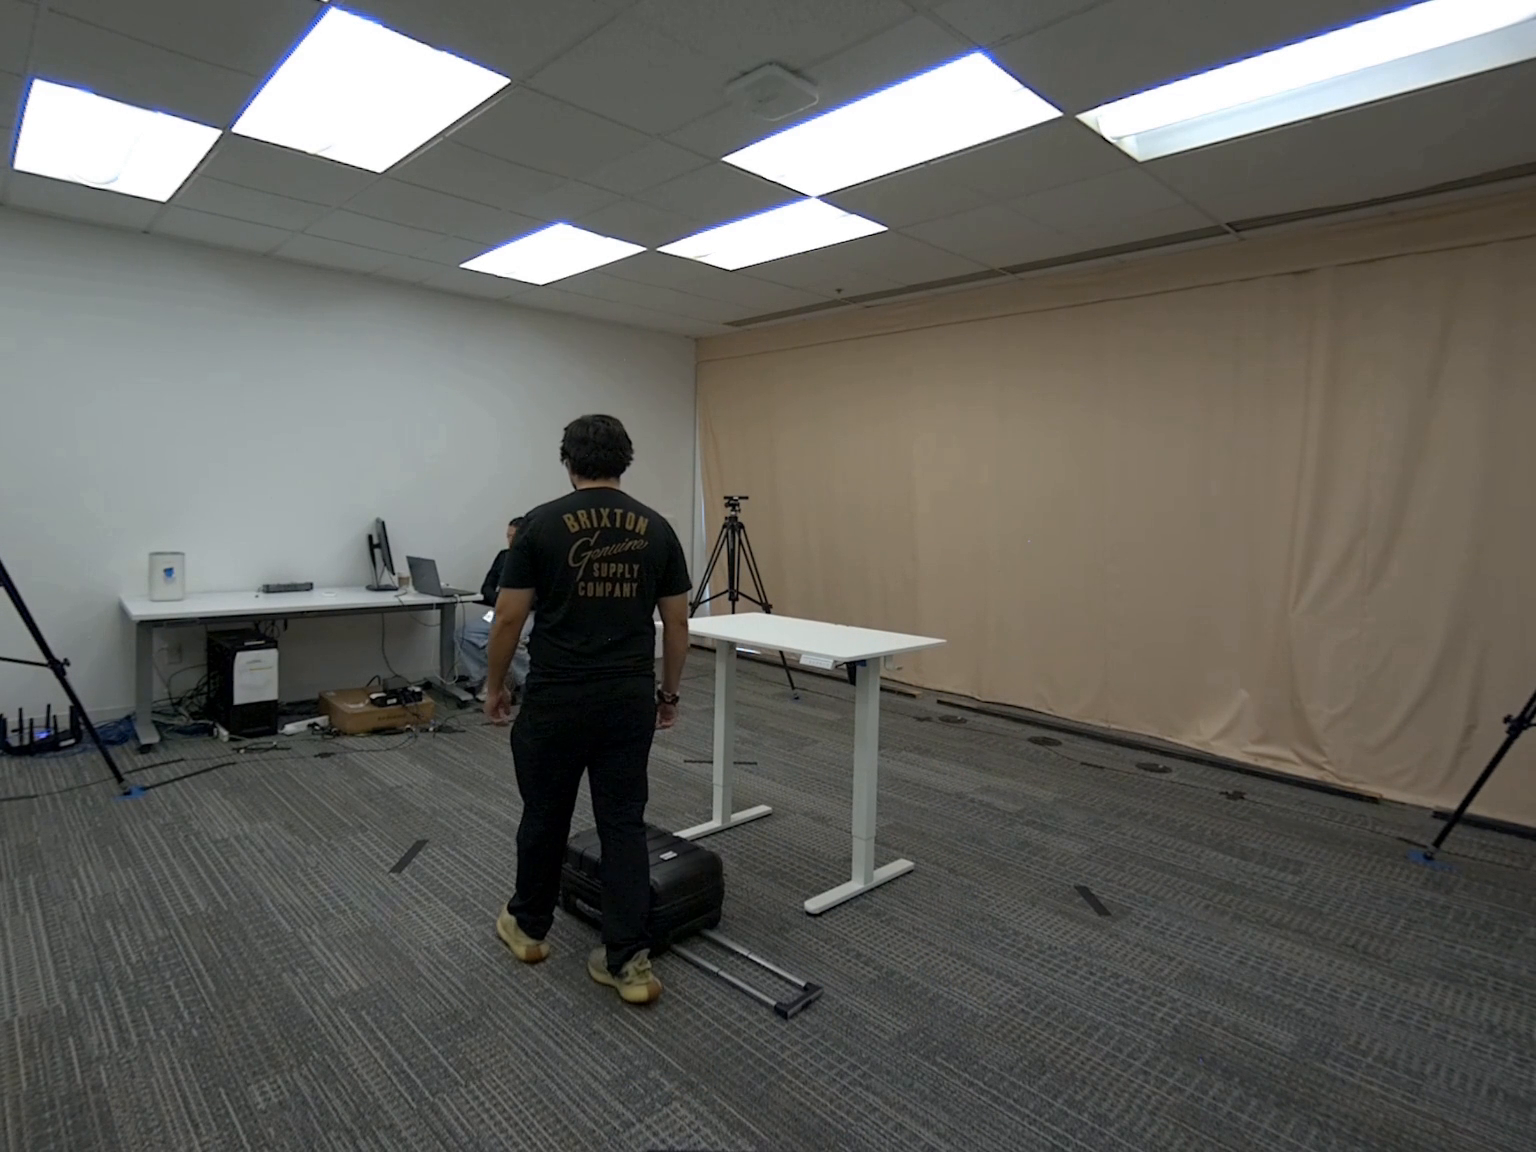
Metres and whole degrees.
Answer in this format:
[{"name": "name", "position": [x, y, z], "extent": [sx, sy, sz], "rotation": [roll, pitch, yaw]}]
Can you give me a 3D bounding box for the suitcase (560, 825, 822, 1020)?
[{"name": "suitcase", "position": [-0.272, 1.023, 2.632], "extent": [1.003, 0.256, 0.375], "rotation": [4, 4, 42]}]
